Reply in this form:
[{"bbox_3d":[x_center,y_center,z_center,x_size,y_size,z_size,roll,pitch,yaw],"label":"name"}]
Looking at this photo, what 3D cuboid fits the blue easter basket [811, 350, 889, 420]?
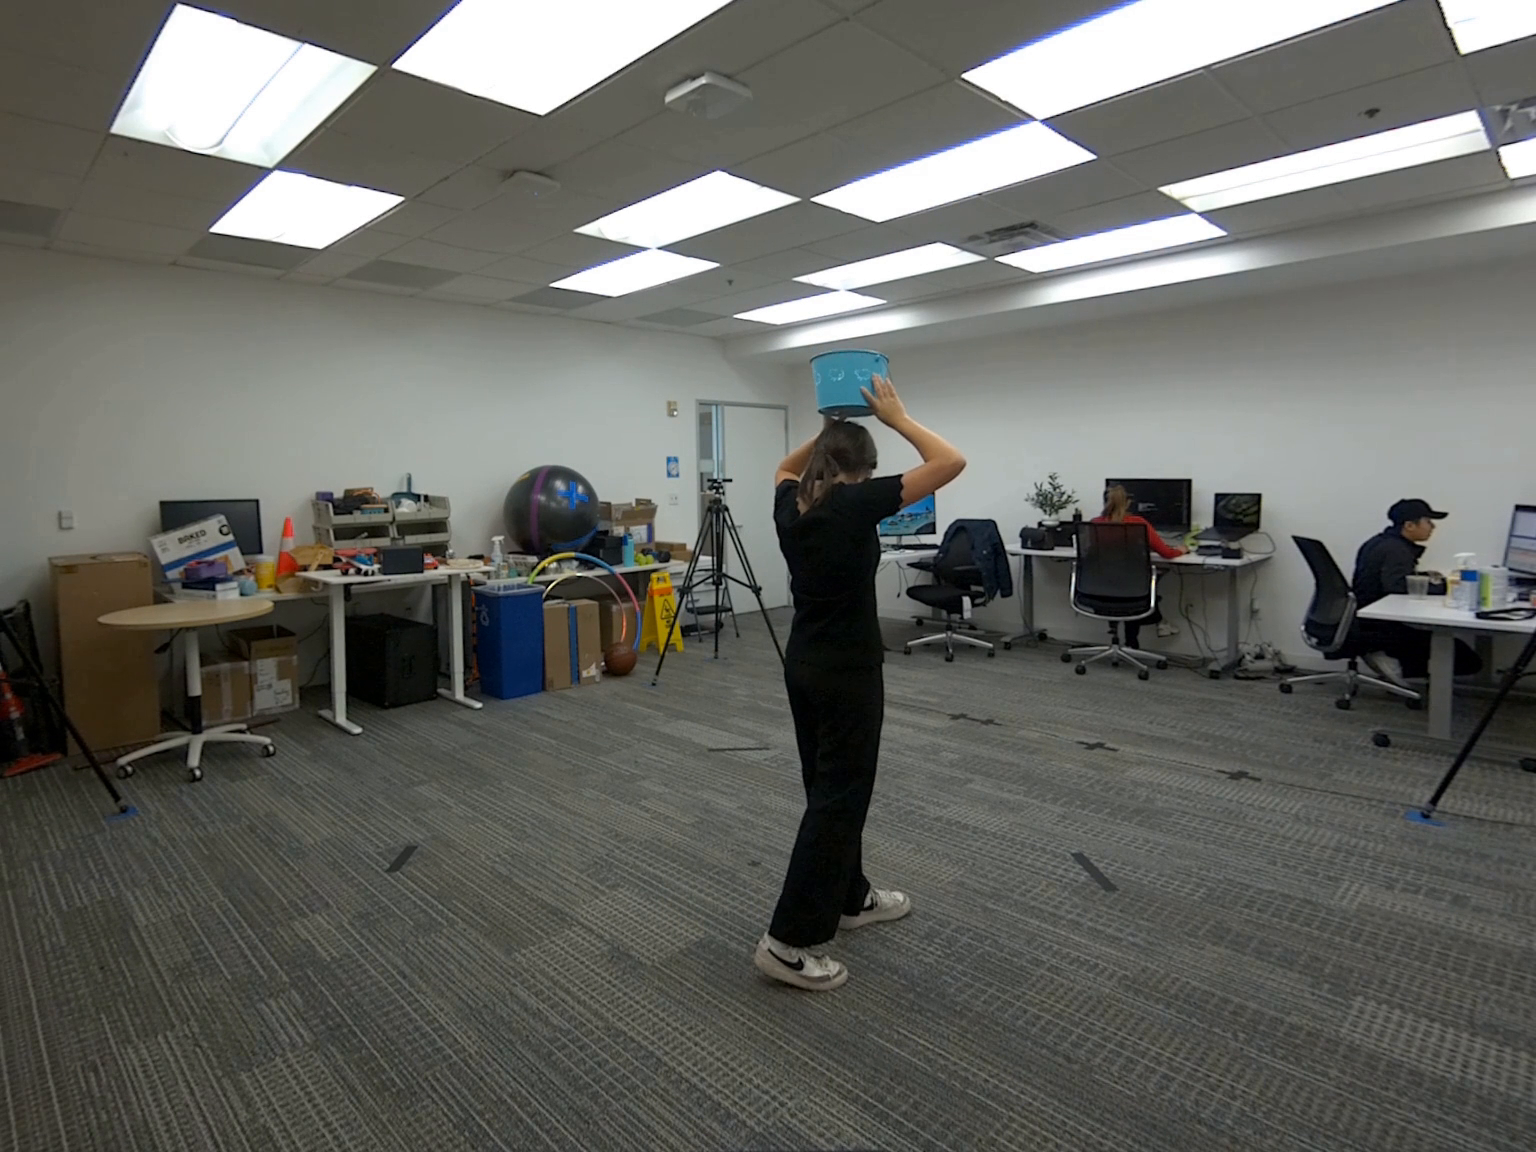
[{"bbox_3d":[0.258,-0.562,2.500,0.243,0.156,0.243,0,-2,-2],"label":"blue easter basket"}]
